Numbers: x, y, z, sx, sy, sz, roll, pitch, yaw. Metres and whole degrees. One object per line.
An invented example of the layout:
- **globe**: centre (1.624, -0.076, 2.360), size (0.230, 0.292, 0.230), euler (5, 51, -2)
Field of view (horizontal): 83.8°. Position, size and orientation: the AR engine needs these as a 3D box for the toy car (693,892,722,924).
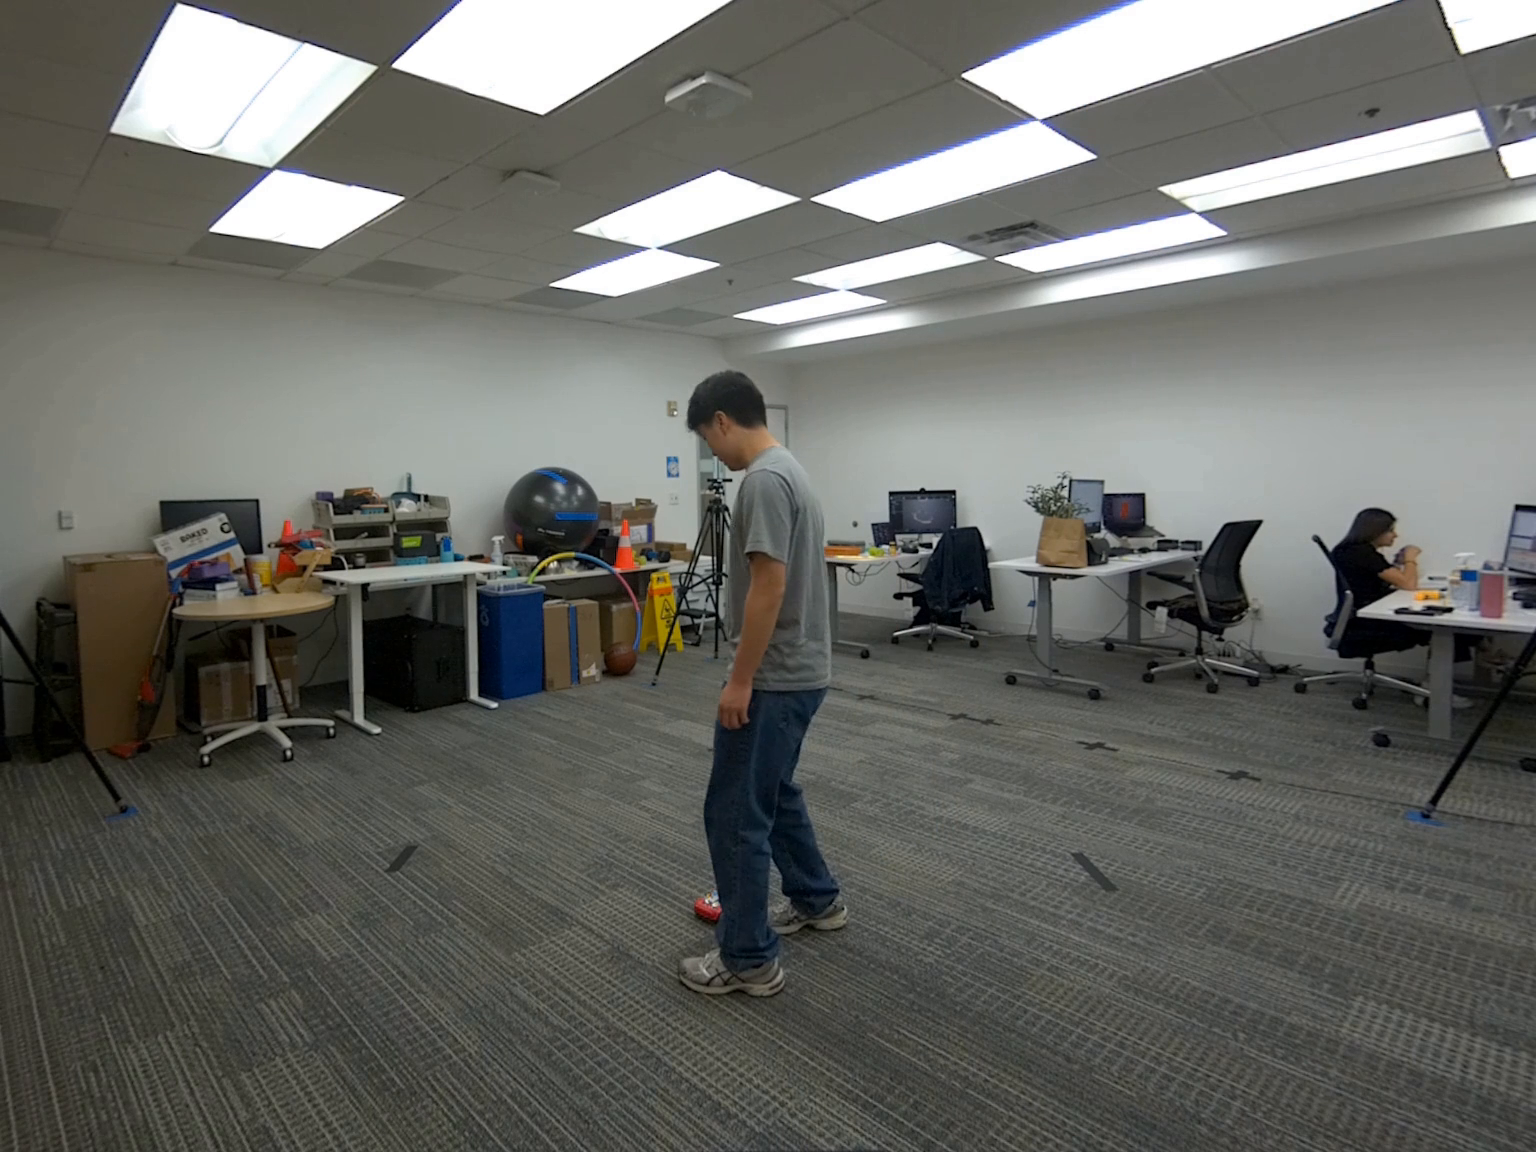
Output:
- **toy car**: centre (-0.112, 1.052, 2.784), size (0.134, 0.082, 0.250), euler (3, 18, 42)
